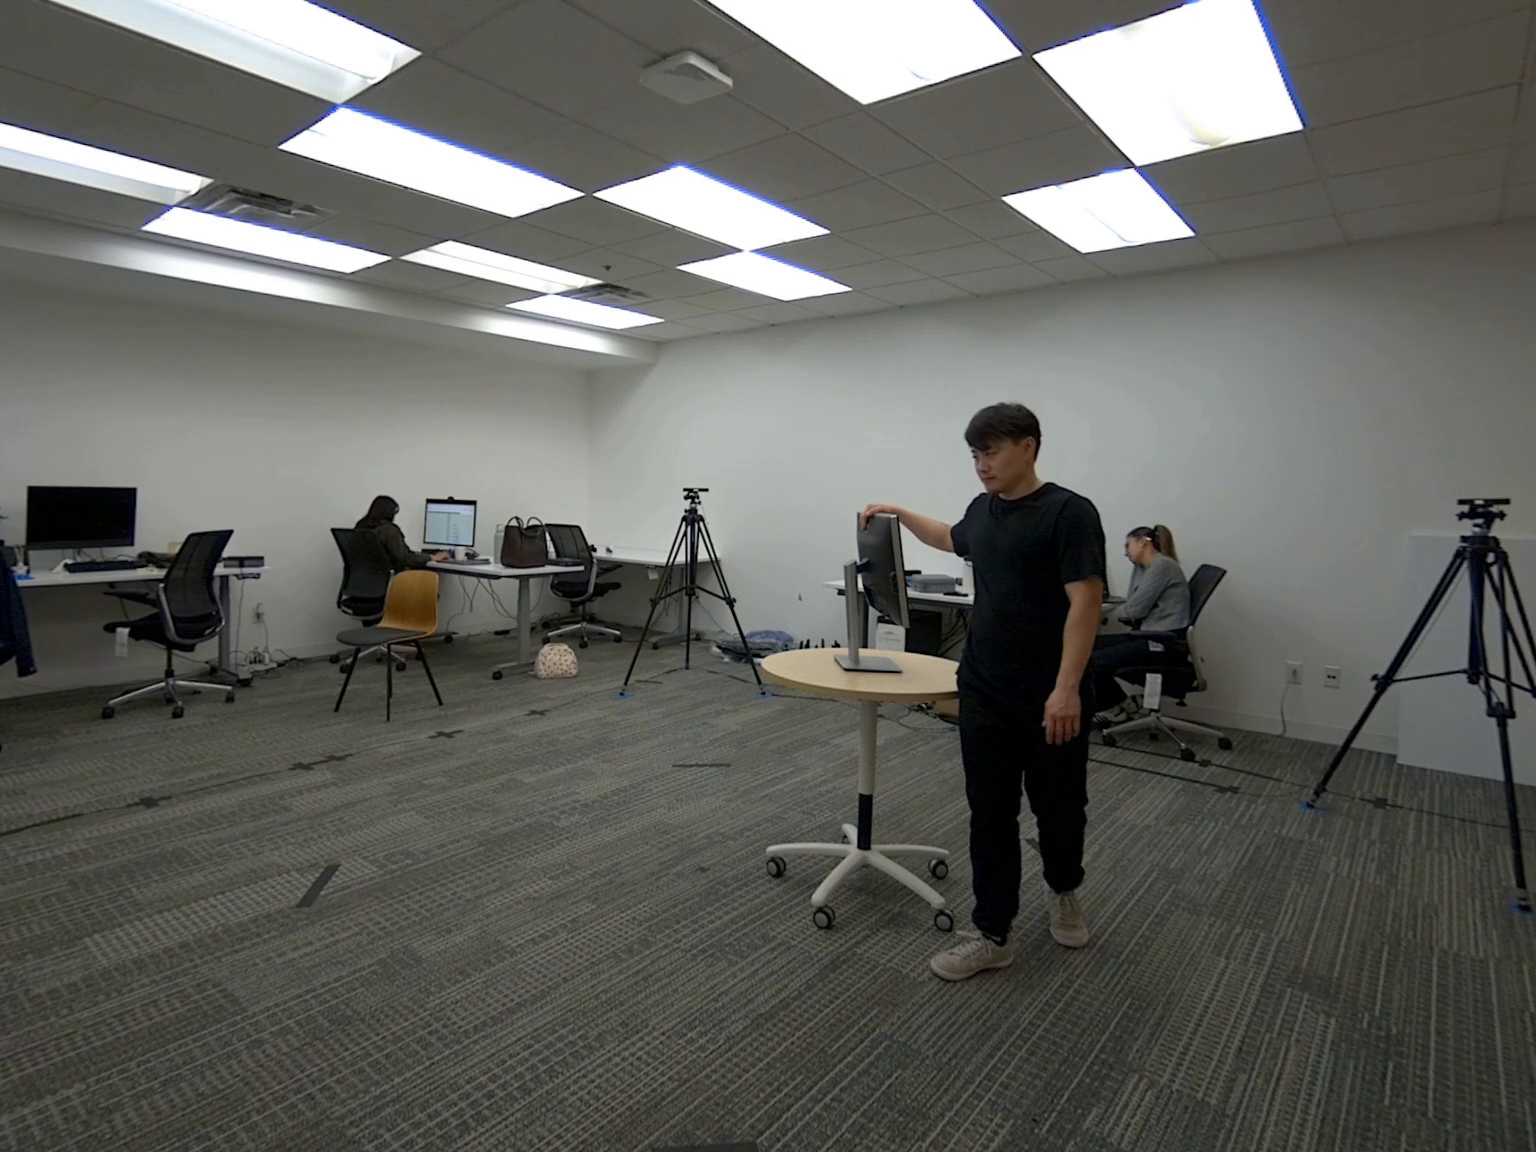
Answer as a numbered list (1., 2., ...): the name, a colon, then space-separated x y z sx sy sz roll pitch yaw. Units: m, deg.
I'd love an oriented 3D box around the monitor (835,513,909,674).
1. monitor: 0.350 0.050 2.995 0.186 0.521 0.544 4 4 -7
